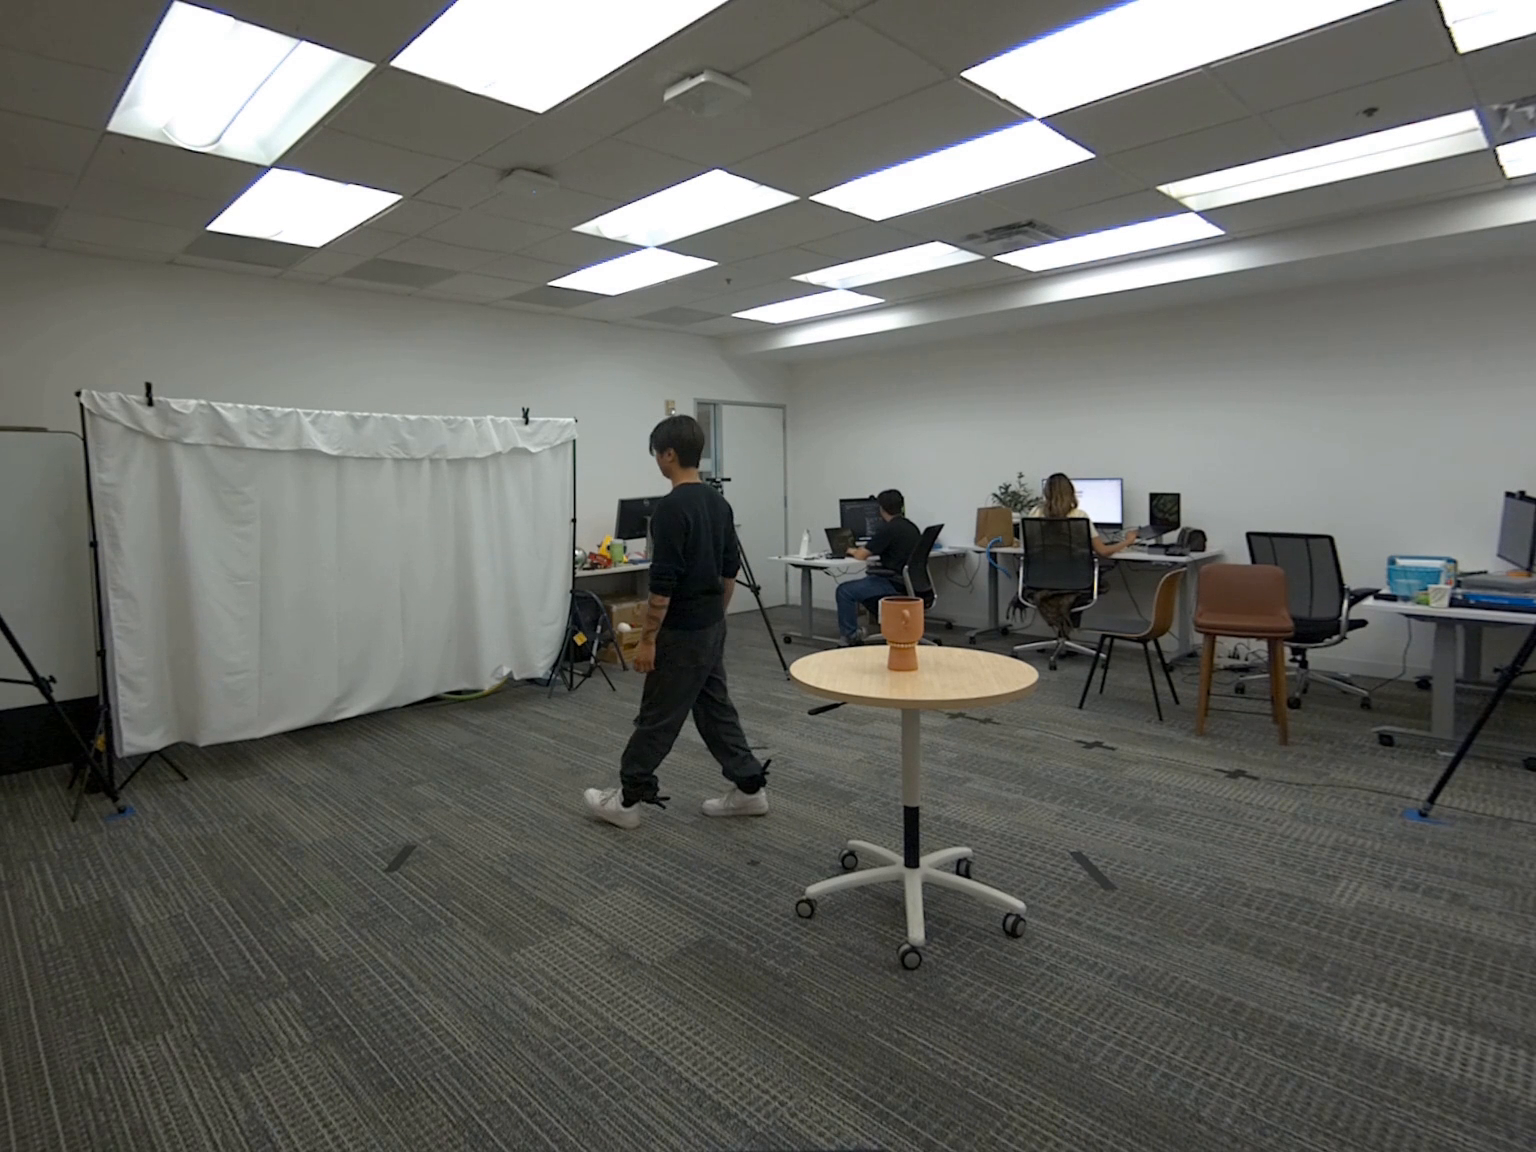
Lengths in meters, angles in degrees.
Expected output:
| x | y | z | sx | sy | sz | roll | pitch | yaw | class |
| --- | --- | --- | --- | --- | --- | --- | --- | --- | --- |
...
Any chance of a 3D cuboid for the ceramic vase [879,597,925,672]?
| x | y | z | sx | sy | sz | roll | pitch | yaw | class |
| --- | --- | --- | --- | --- | --- | --- | --- | --- | --- |
| 0.433 | 0.187 | 2.715 | 0.138 | 0.219 | 0.155 | 1 | 5 | 39 | ceramic vase |
